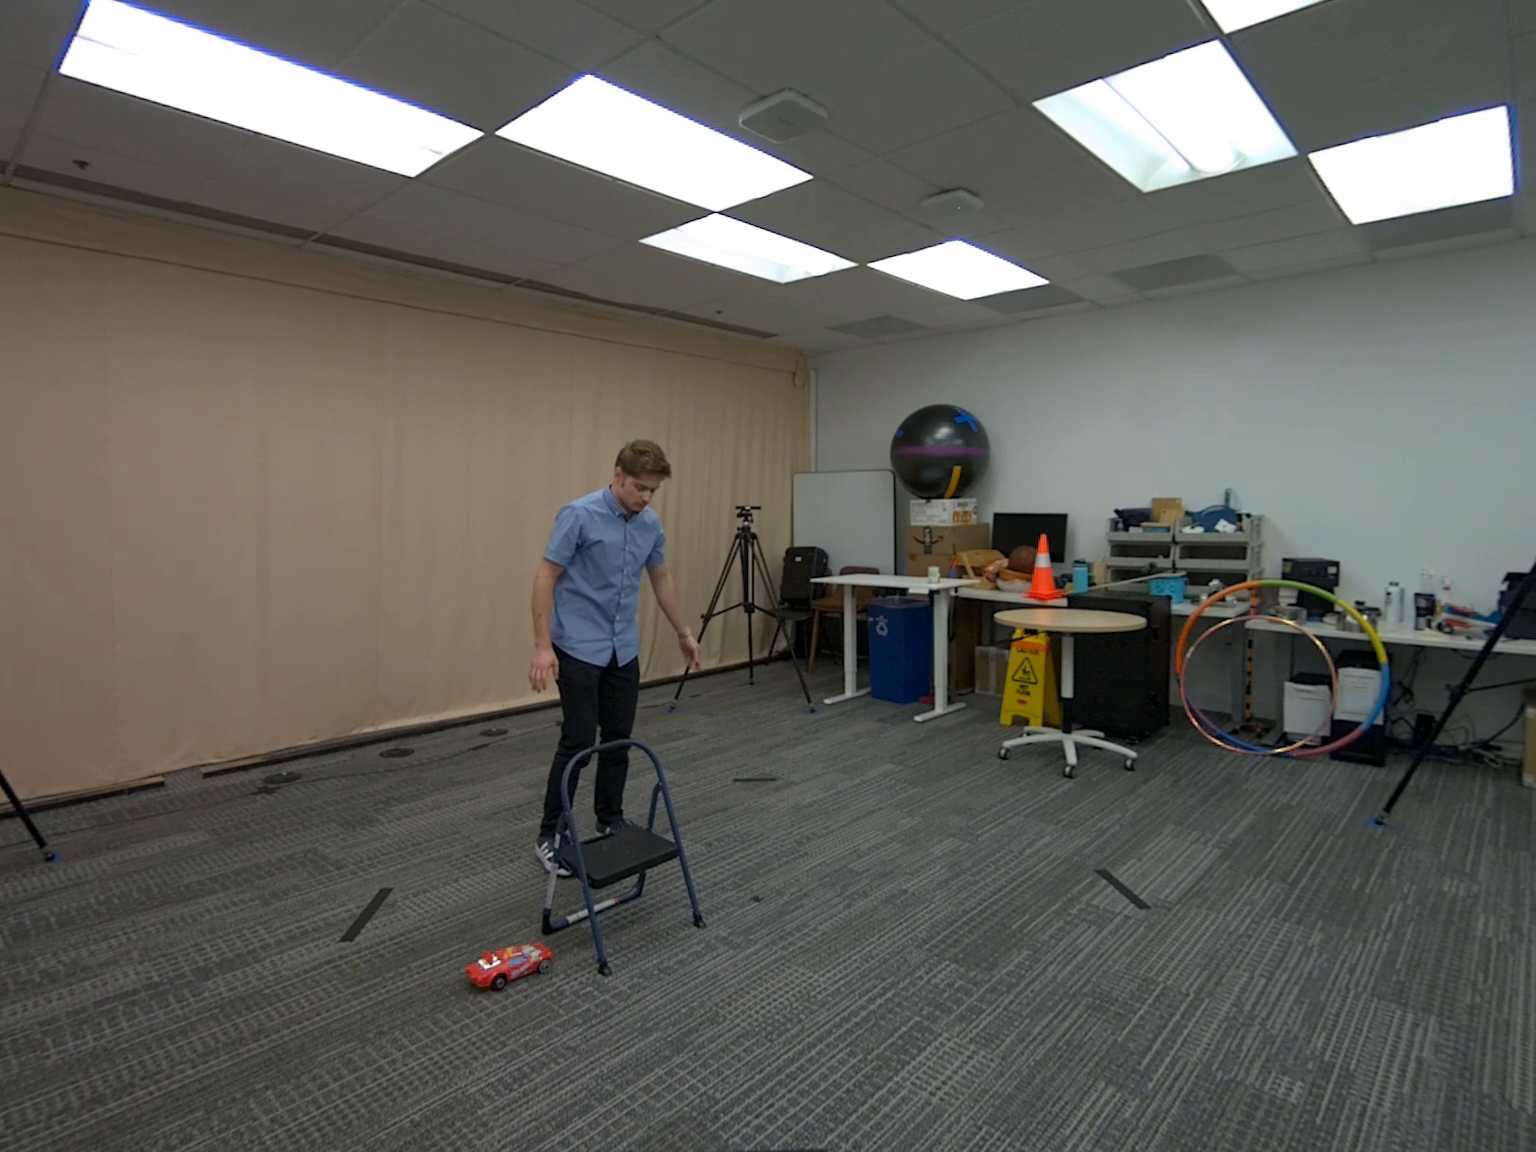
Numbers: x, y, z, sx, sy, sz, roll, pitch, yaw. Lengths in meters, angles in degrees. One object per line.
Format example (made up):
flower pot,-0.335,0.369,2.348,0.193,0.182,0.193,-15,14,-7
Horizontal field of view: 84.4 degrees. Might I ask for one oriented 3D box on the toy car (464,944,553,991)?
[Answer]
toy car,-0.773,1.157,2.496,0.246,0.083,0.134,11,-4,-38
